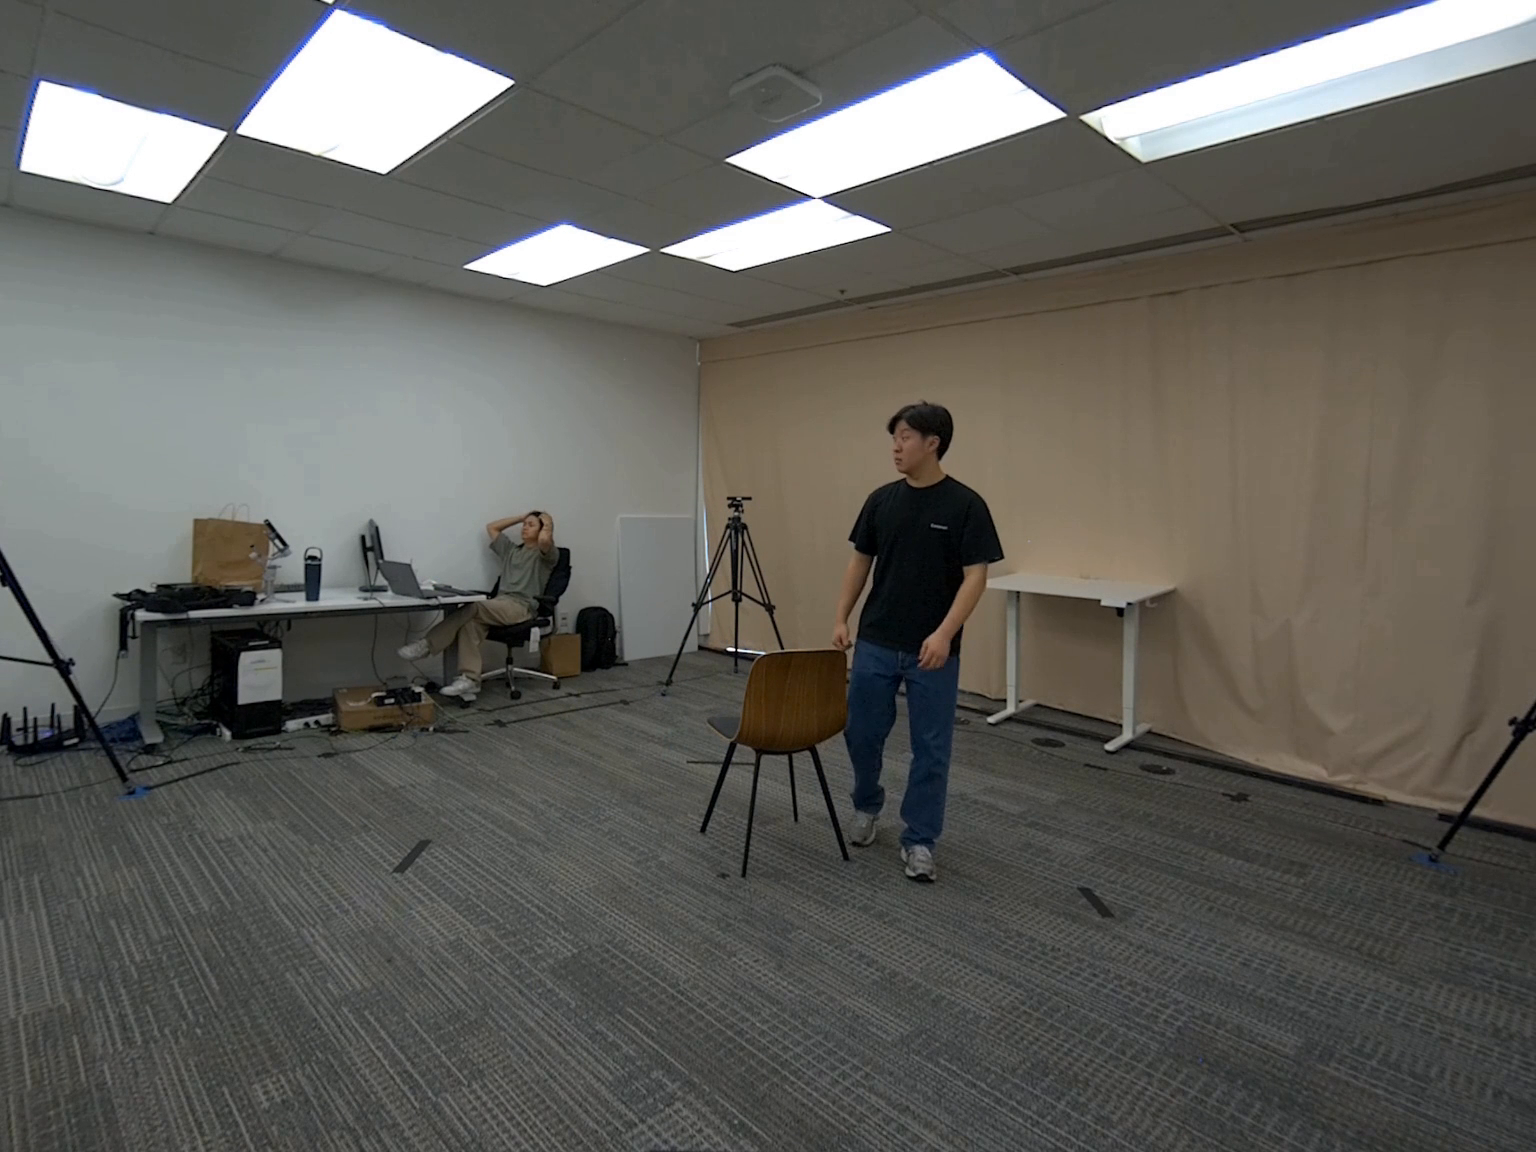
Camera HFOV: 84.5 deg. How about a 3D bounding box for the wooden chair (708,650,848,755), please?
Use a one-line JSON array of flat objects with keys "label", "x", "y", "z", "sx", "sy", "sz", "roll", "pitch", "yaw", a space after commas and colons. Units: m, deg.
[{"label": "wooden chair", "x": 0.011, "y": 0.663, "z": 3.357, "sx": 0.470, "sy": 0.873, "sz": 0.535, "roll": 0, "pitch": 7, "yaw": -24}]
